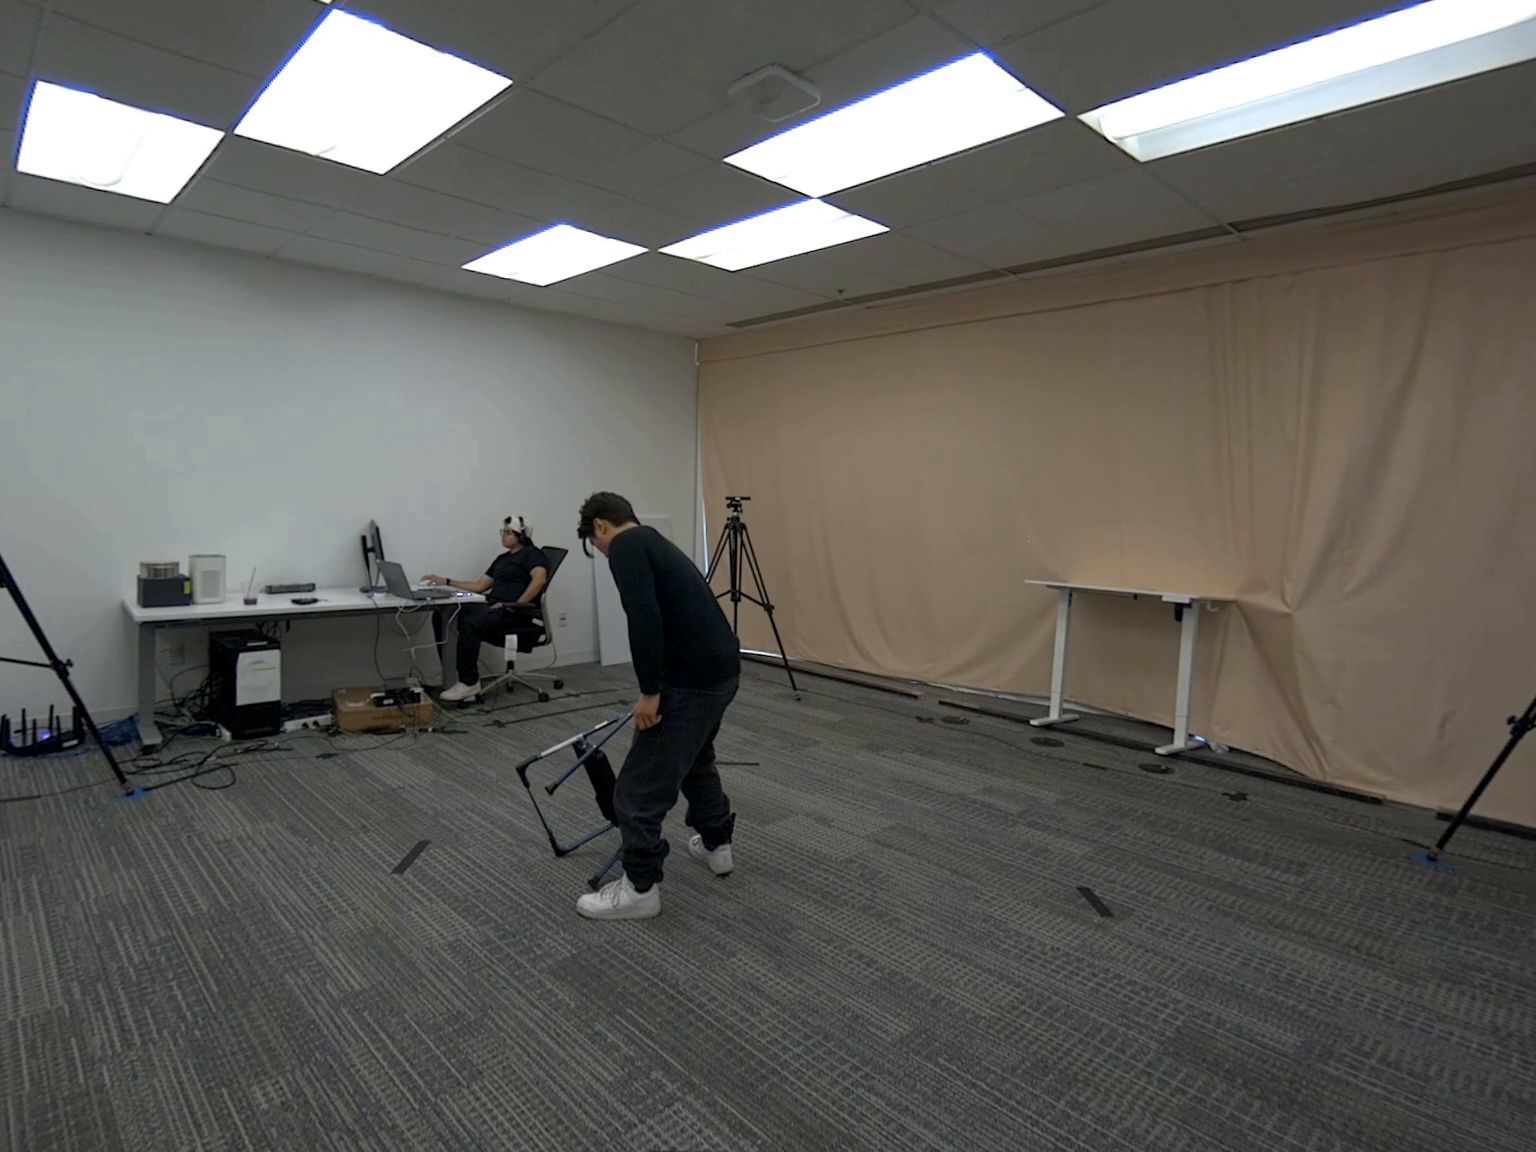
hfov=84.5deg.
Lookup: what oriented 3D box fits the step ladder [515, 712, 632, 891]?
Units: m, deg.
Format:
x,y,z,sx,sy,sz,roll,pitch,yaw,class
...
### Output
x,y,z,sx,sy,sz,roll,pitch,yaw,class
-0.571,0.776,3.204,0.600,0.424,0.357,-29,19,-31,step ladder
